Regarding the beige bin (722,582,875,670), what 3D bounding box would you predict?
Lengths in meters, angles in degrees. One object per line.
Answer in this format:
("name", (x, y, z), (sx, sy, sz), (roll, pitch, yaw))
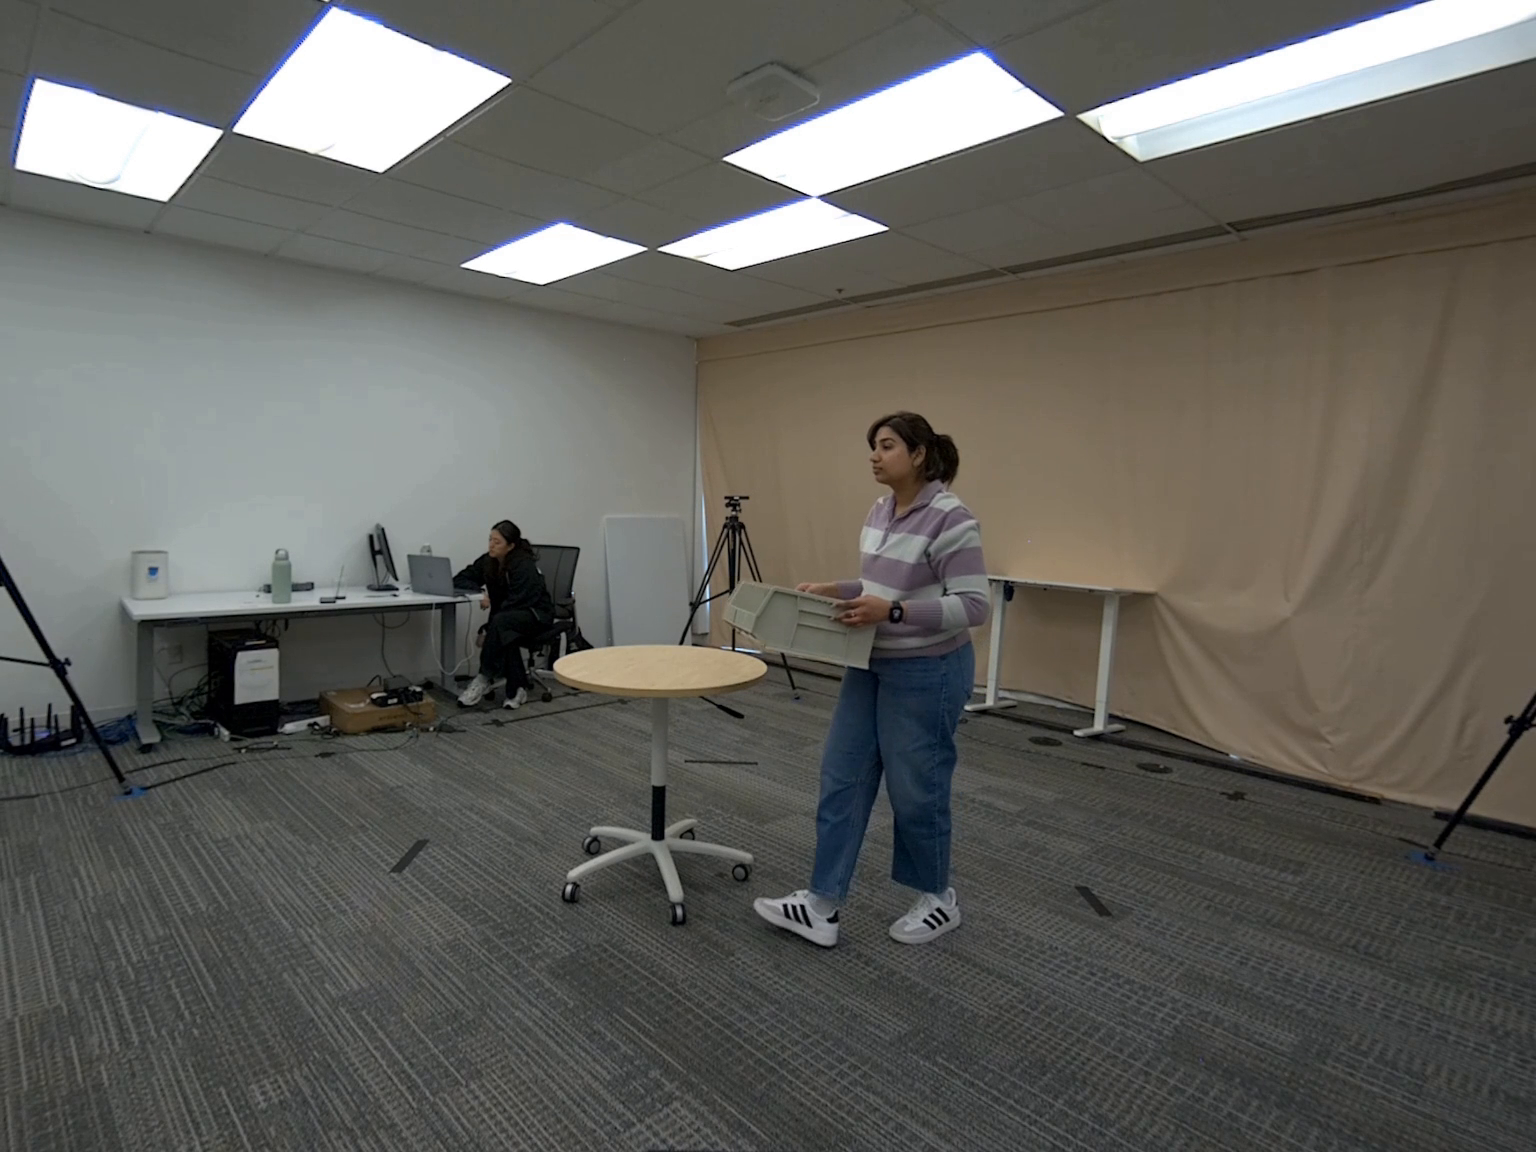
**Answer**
("beige bin", (0.078, 0.142, 2.590), (0.373, 0.189, 0.427), (13, -2, -14))
